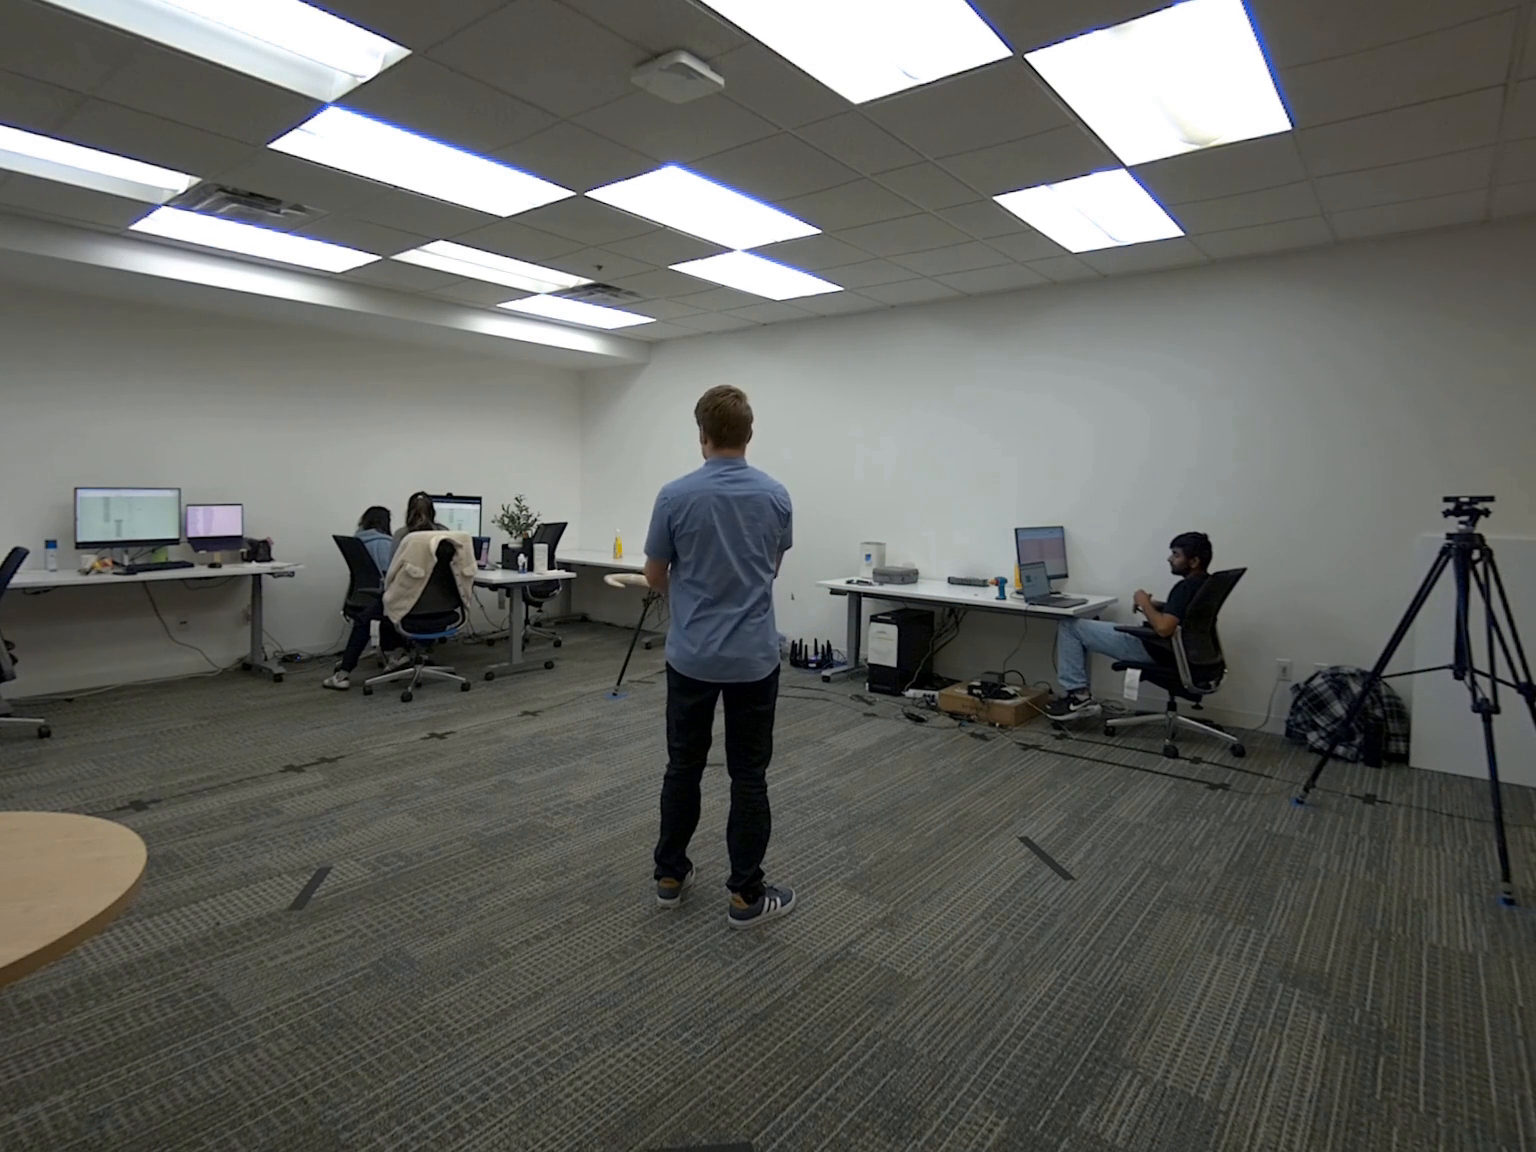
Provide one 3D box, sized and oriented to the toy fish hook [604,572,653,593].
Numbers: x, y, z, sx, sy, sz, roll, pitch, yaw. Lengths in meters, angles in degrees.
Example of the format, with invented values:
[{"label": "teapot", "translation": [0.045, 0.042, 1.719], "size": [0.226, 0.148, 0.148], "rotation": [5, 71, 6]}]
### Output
[{"label": "toy fish hook", "translation": [-0.444, 0.052, 3.214], "size": [0.525, 0.048, 0.218], "rotation": [10, 13, 42]}]
